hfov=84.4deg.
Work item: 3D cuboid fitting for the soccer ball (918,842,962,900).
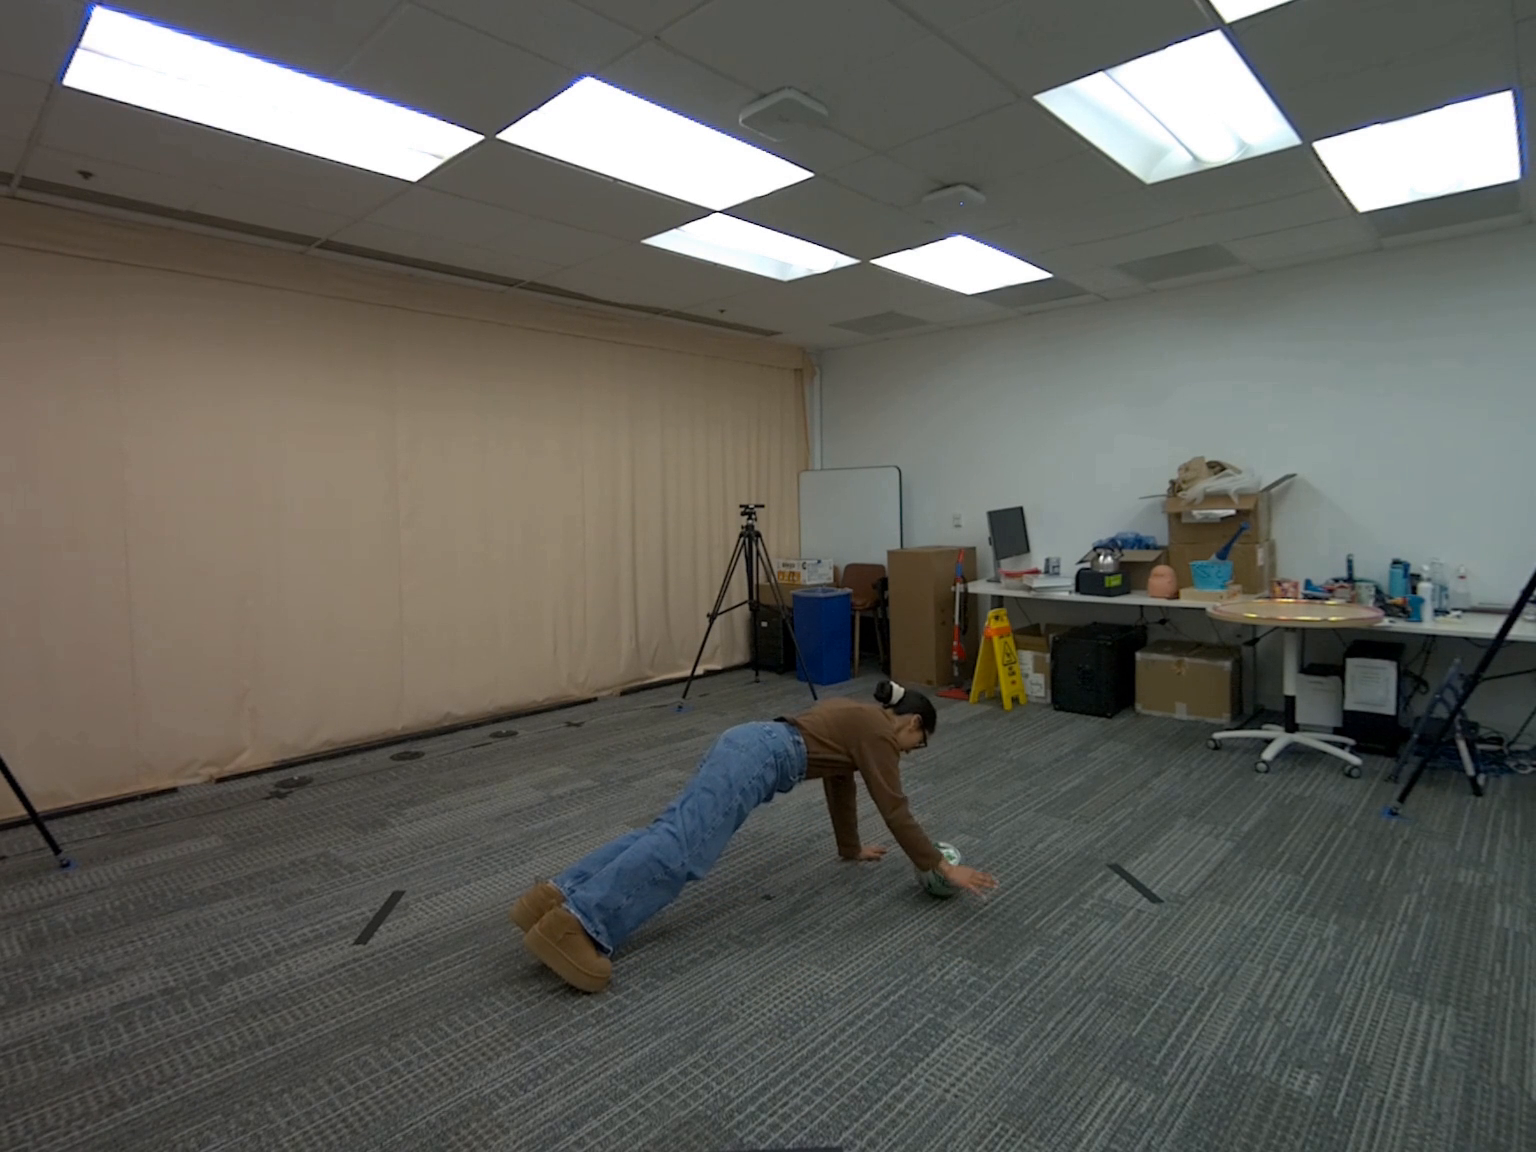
[{"bbox_3d":[0.617,1.041,2.971,0.187,0.187,0.188,-1,4,-2],"label":"soccer ball"}]
